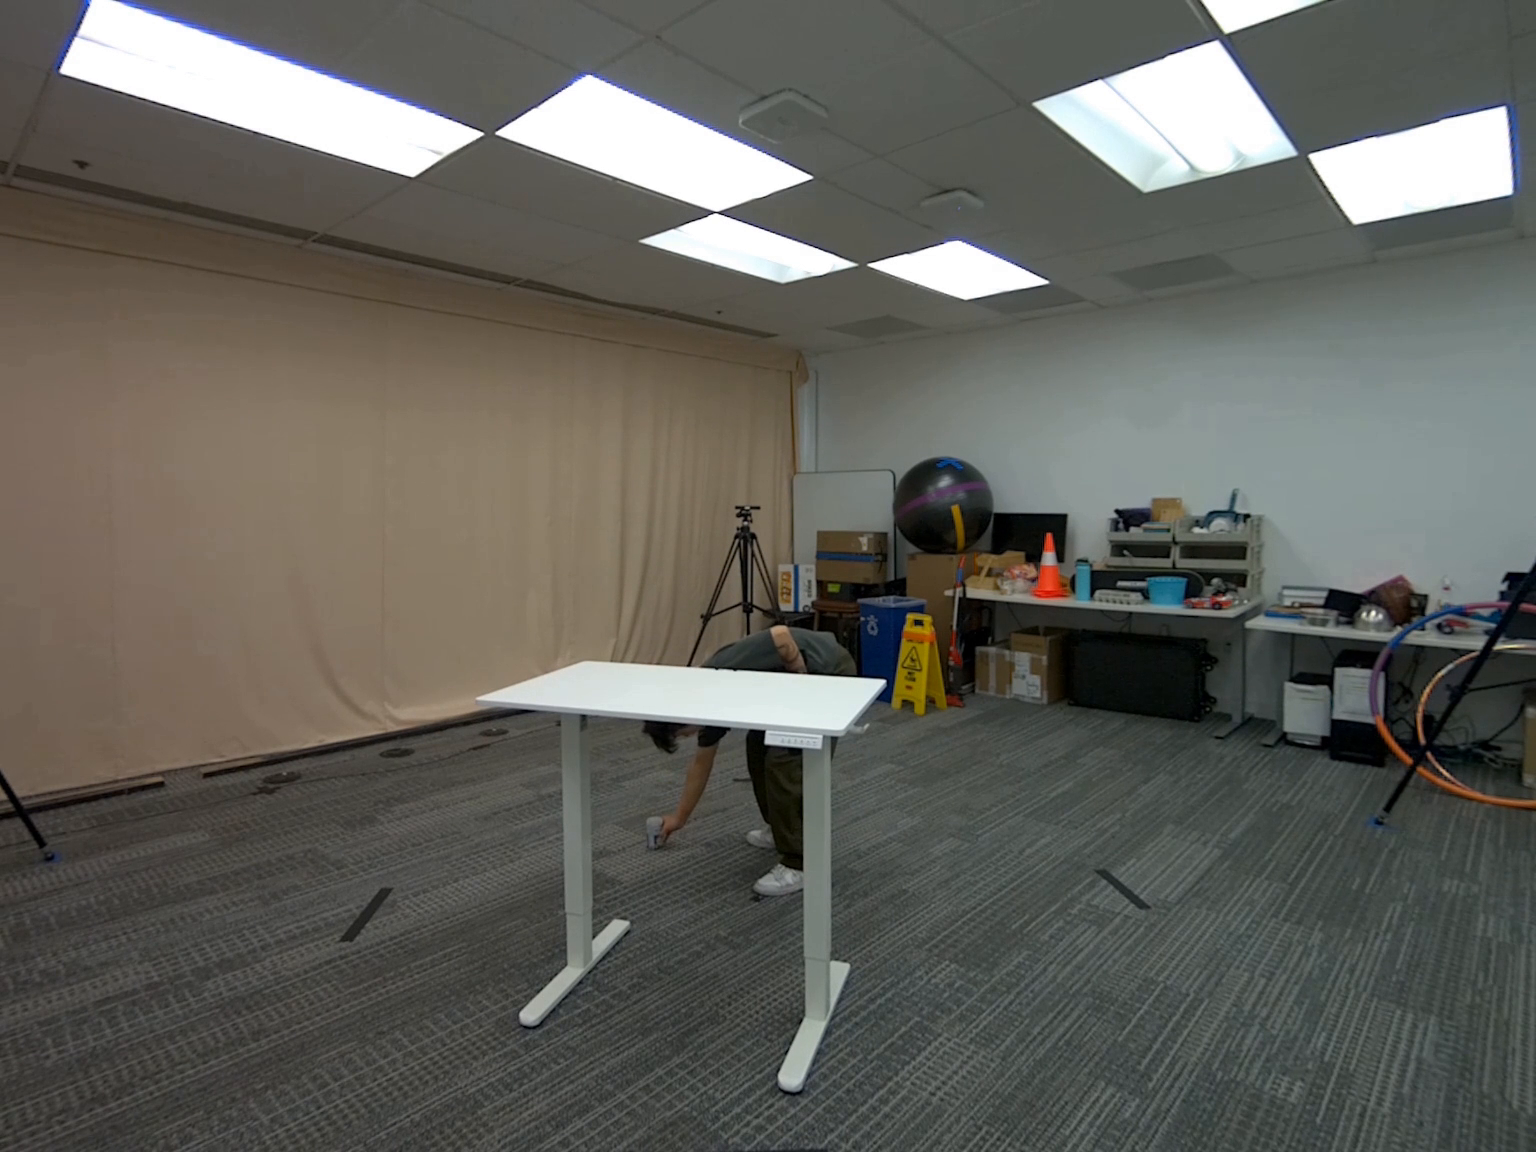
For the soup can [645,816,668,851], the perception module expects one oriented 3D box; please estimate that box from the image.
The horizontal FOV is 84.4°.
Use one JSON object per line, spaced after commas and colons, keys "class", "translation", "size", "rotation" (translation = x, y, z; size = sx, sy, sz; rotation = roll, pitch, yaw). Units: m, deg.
{"class": "soup can", "translation": [-0.459, 1.060, 3.446], "size": [0.067, 0.121, 0.067], "rotation": [-1, 1, -2]}
